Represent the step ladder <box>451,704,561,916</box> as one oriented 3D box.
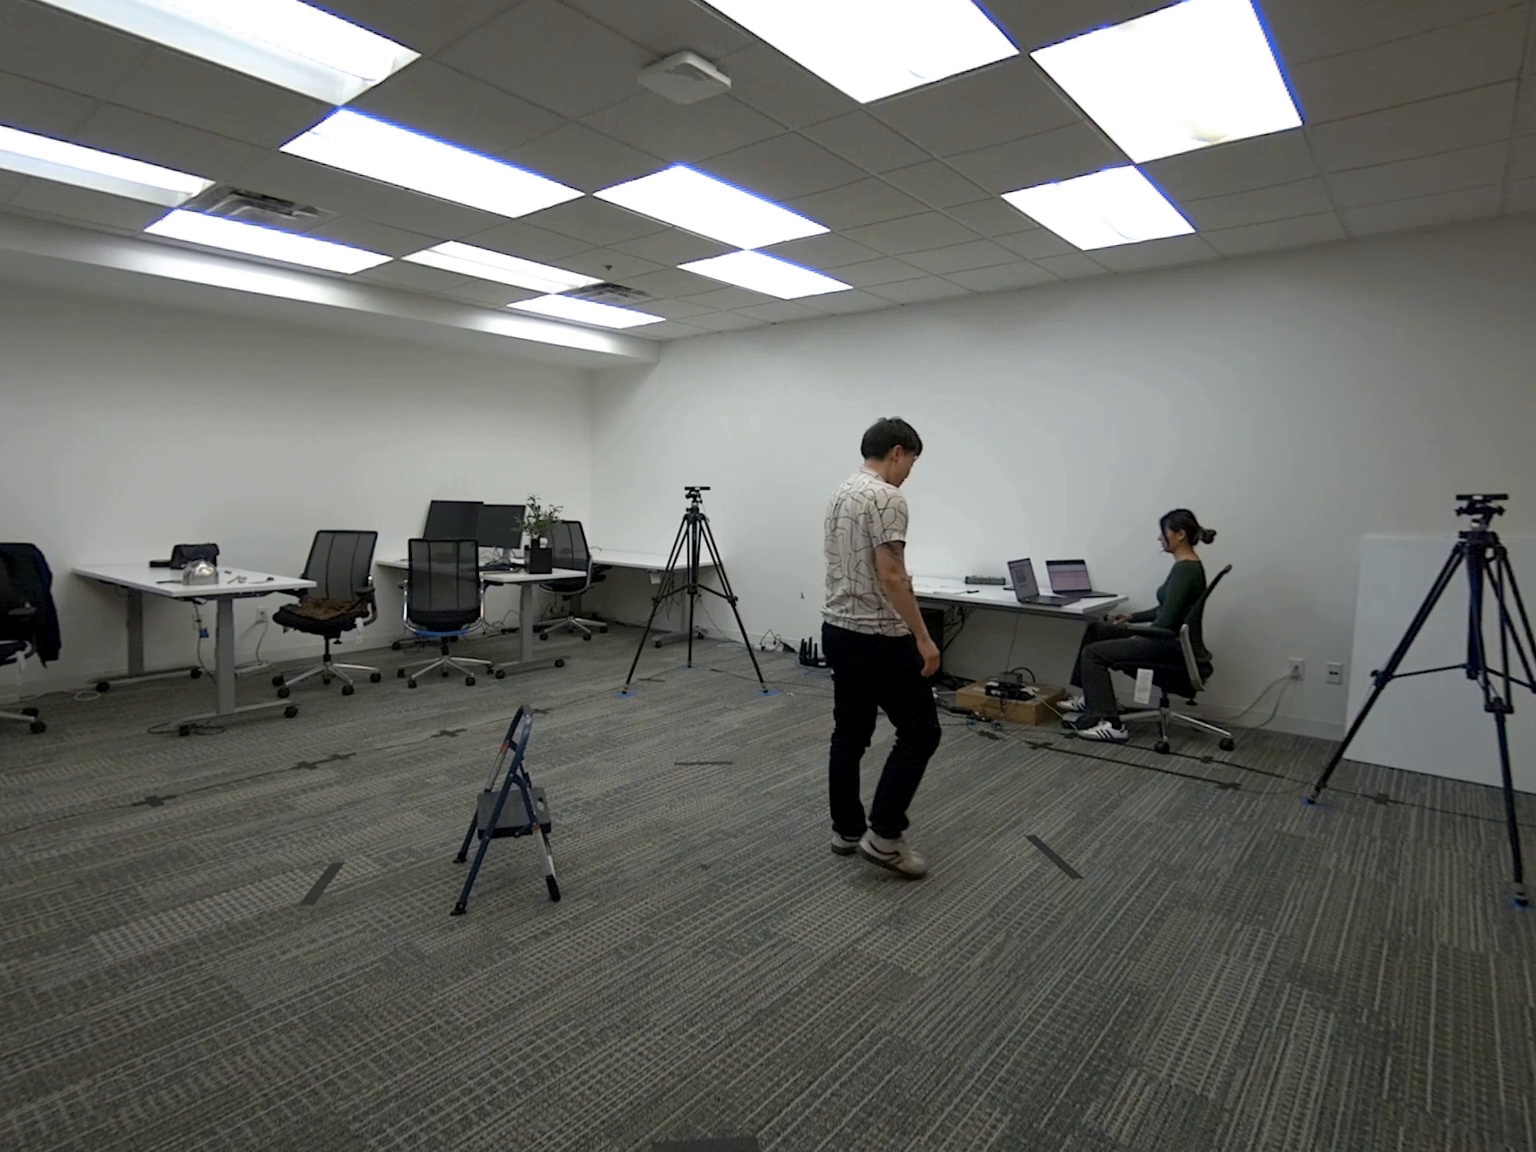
[{"bbox_3d":[-0.930,0.770,2.972,0.343,0.604,0.440,0,4,-19],"label":"step ladder"}]
